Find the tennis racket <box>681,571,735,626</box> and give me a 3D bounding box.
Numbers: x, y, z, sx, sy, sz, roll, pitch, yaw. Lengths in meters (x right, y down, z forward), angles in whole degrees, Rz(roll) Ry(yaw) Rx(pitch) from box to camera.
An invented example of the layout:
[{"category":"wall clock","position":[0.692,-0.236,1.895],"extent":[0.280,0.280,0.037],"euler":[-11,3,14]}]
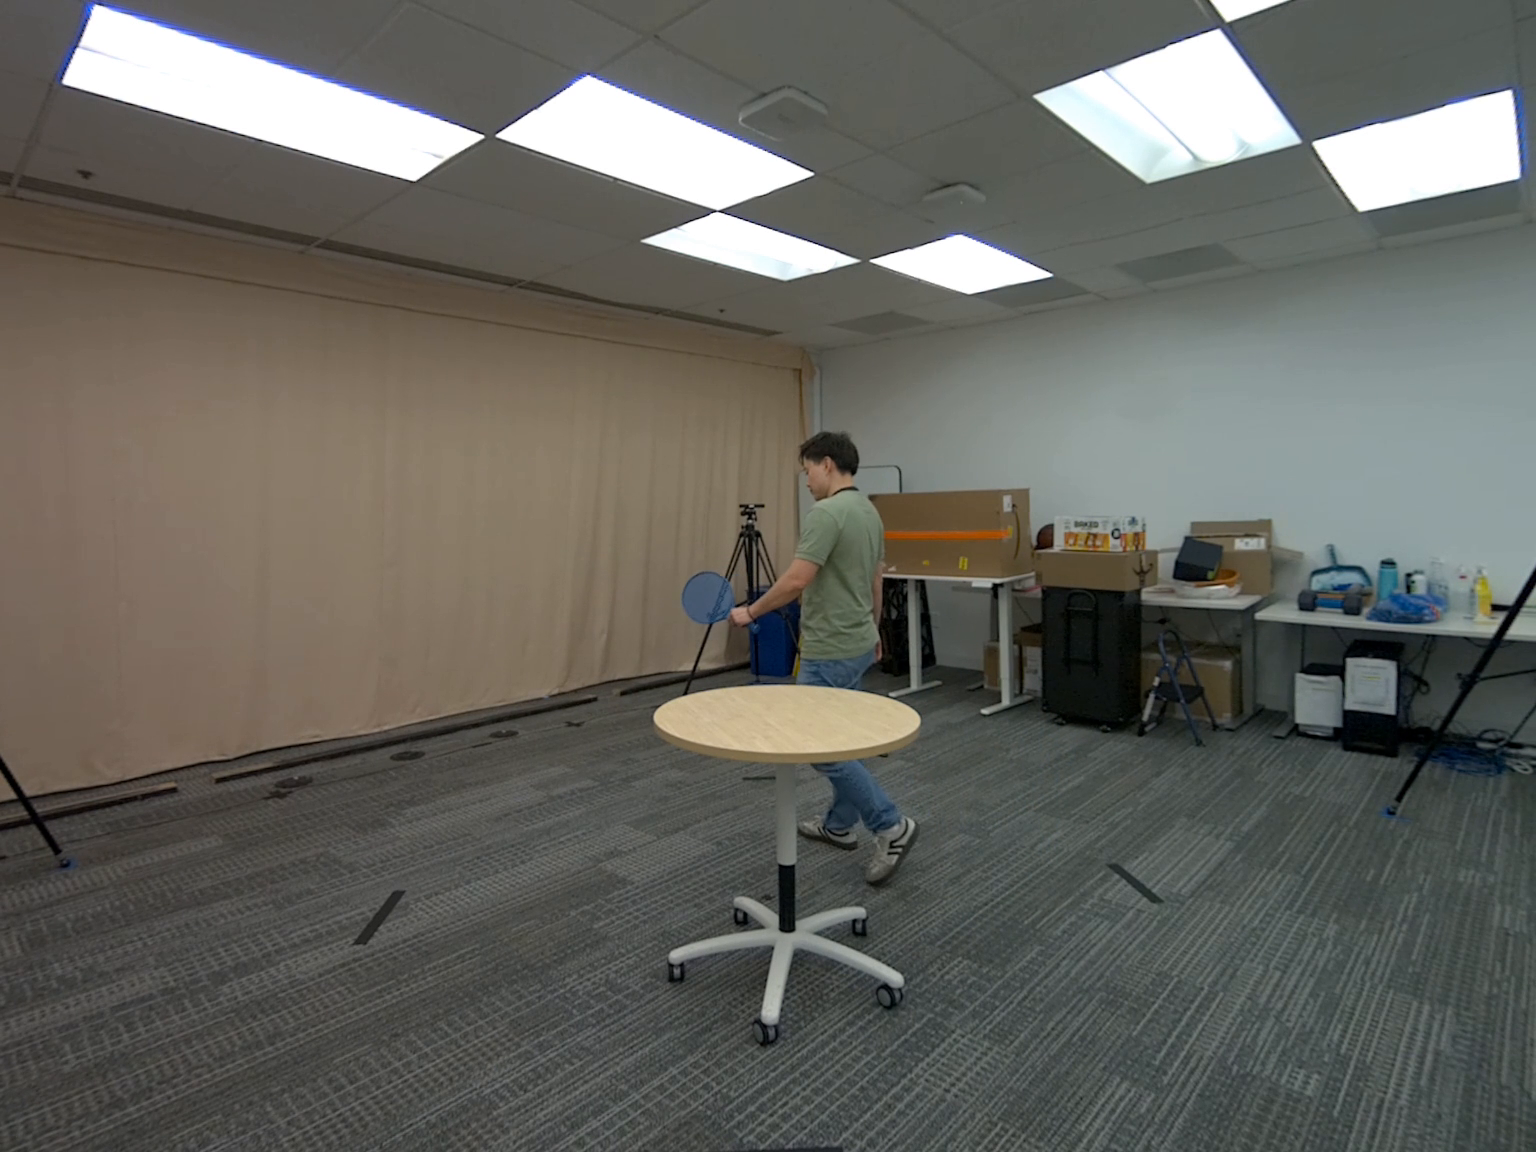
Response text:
[{"category":"tennis racket","position":[-0.180,0.126,3.390],"extent":[0.449,0.214,0.030],"euler":[32,0,36]}]
